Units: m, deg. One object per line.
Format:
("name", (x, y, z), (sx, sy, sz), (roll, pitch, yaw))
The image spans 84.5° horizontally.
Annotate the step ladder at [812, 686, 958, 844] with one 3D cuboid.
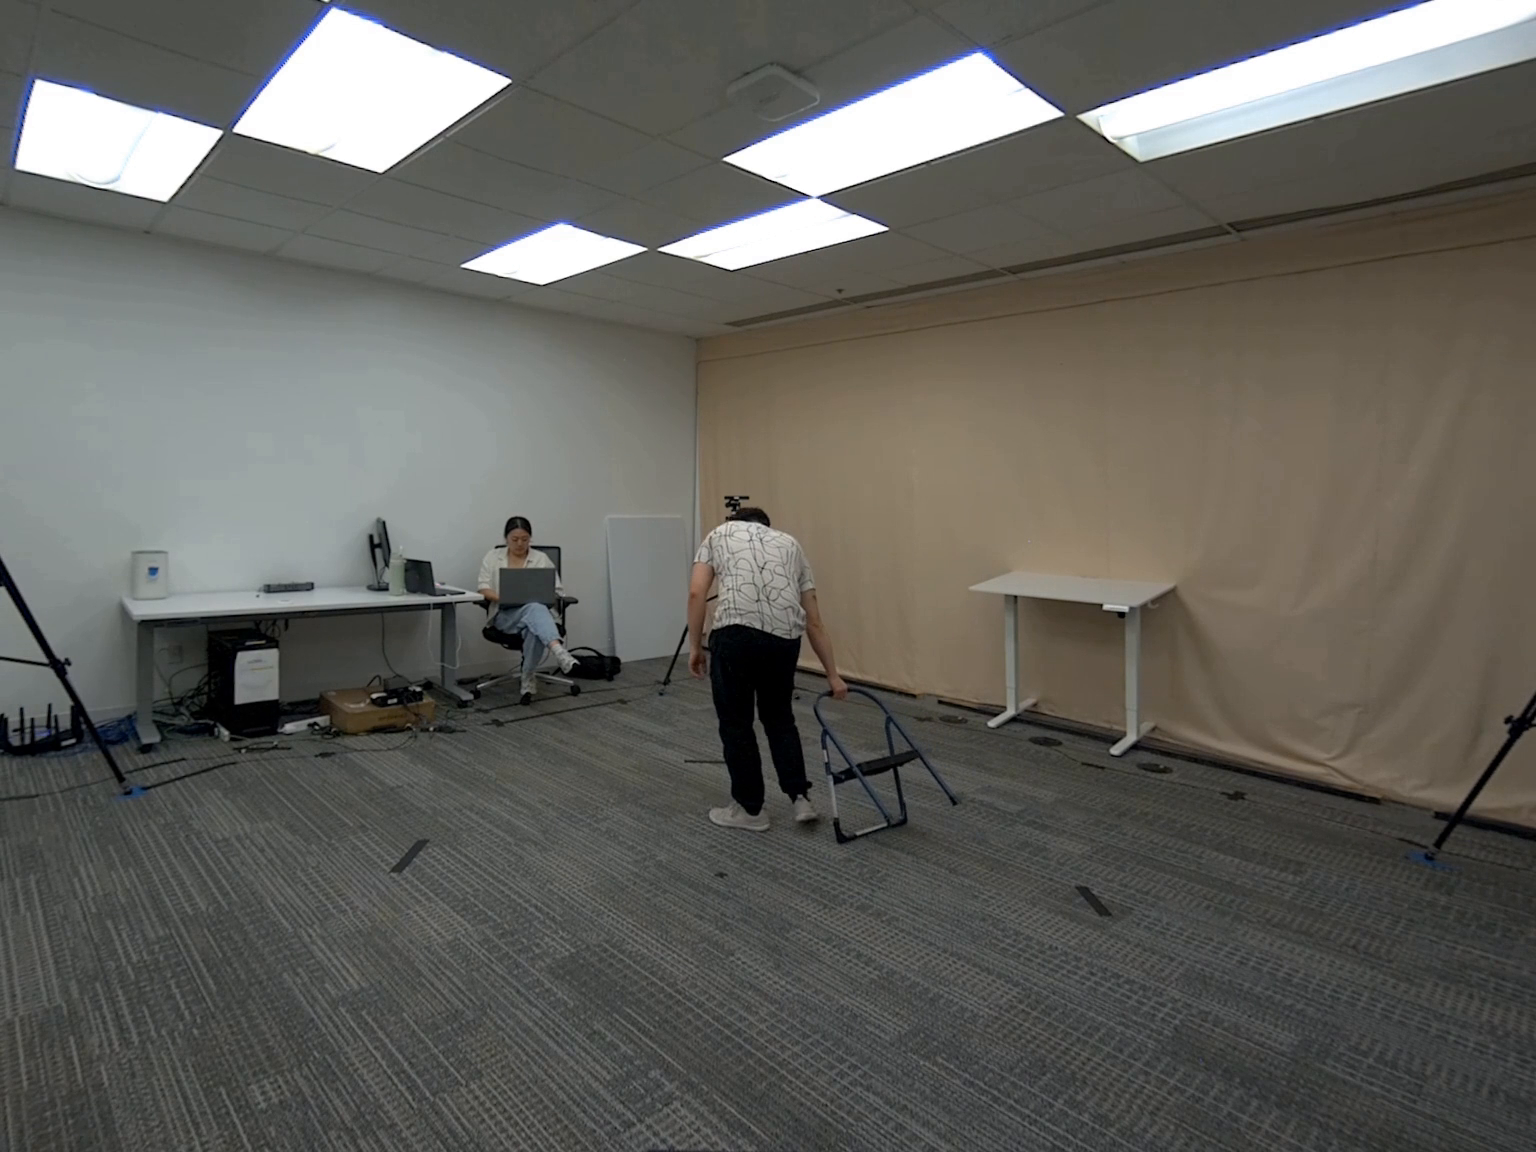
("step ladder", (0.432, 0.739, 3.538), (0.421, 0.618, 0.350), (-1, -28, -40))
